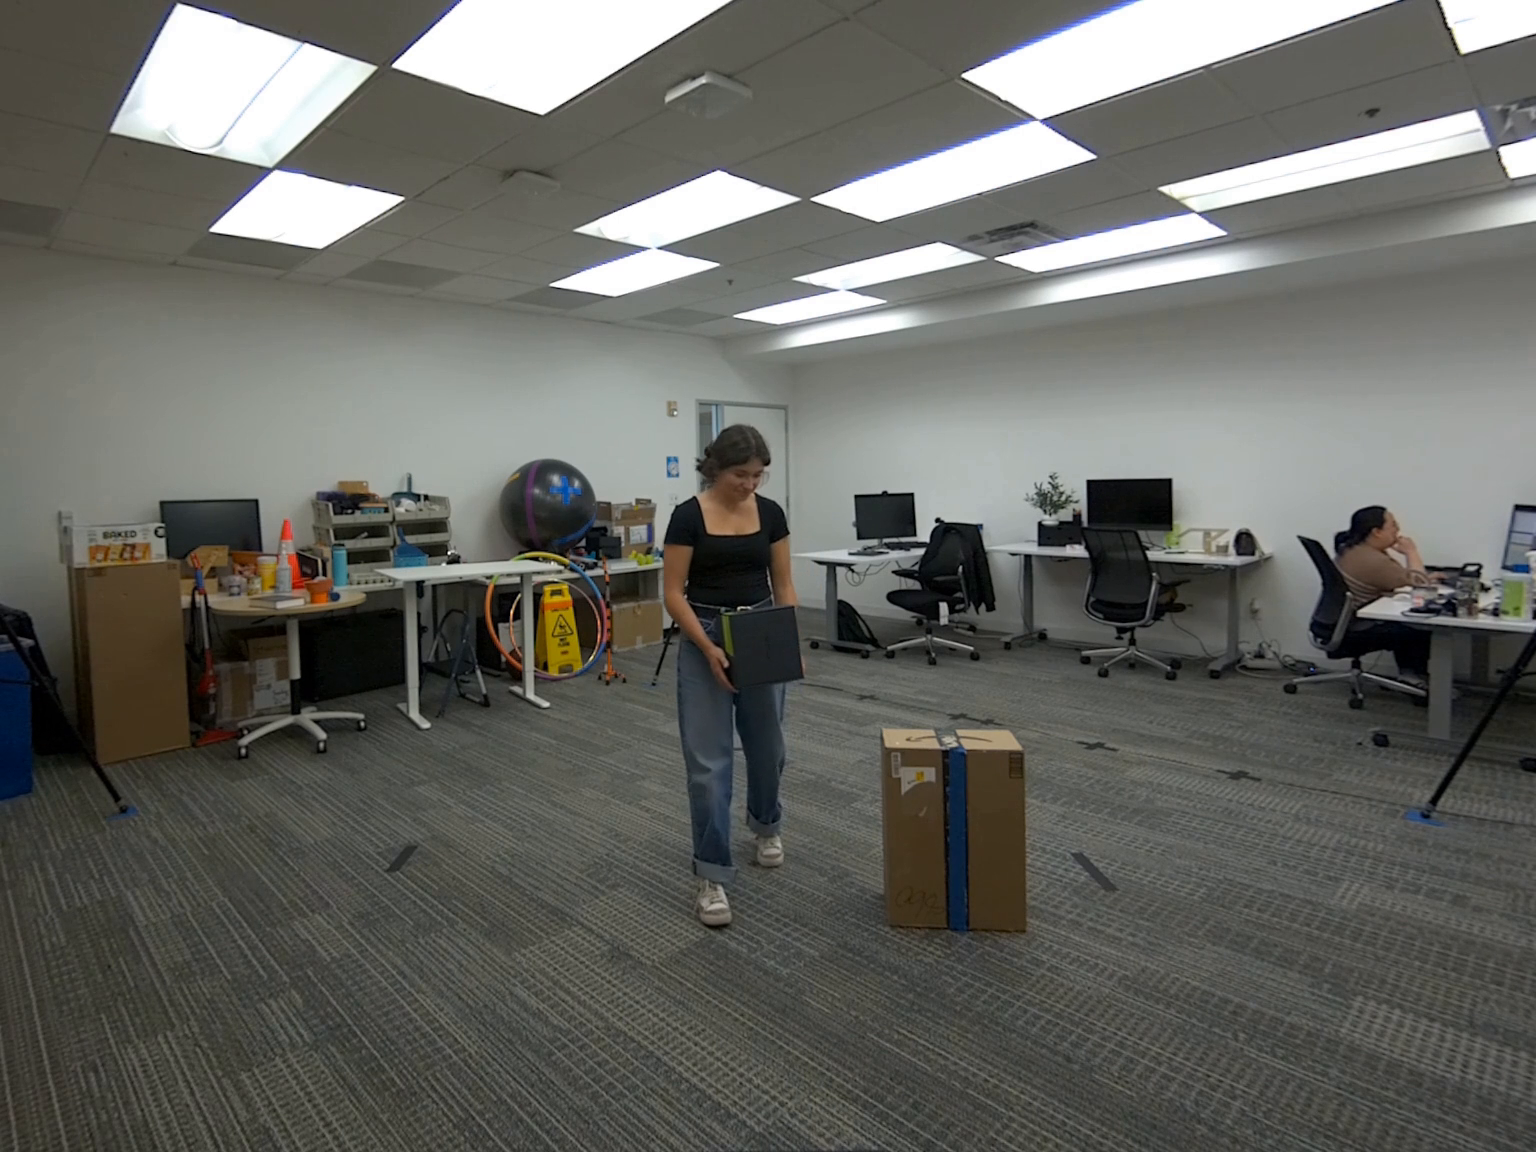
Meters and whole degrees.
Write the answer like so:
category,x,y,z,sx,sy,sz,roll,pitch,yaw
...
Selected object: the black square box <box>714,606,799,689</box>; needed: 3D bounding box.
category,x,y,z,sx,sy,sz,roll,pitch,yaw
black square box,-0.047,0.223,2.668,0.214,0.228,0.158,-6,0,-18
